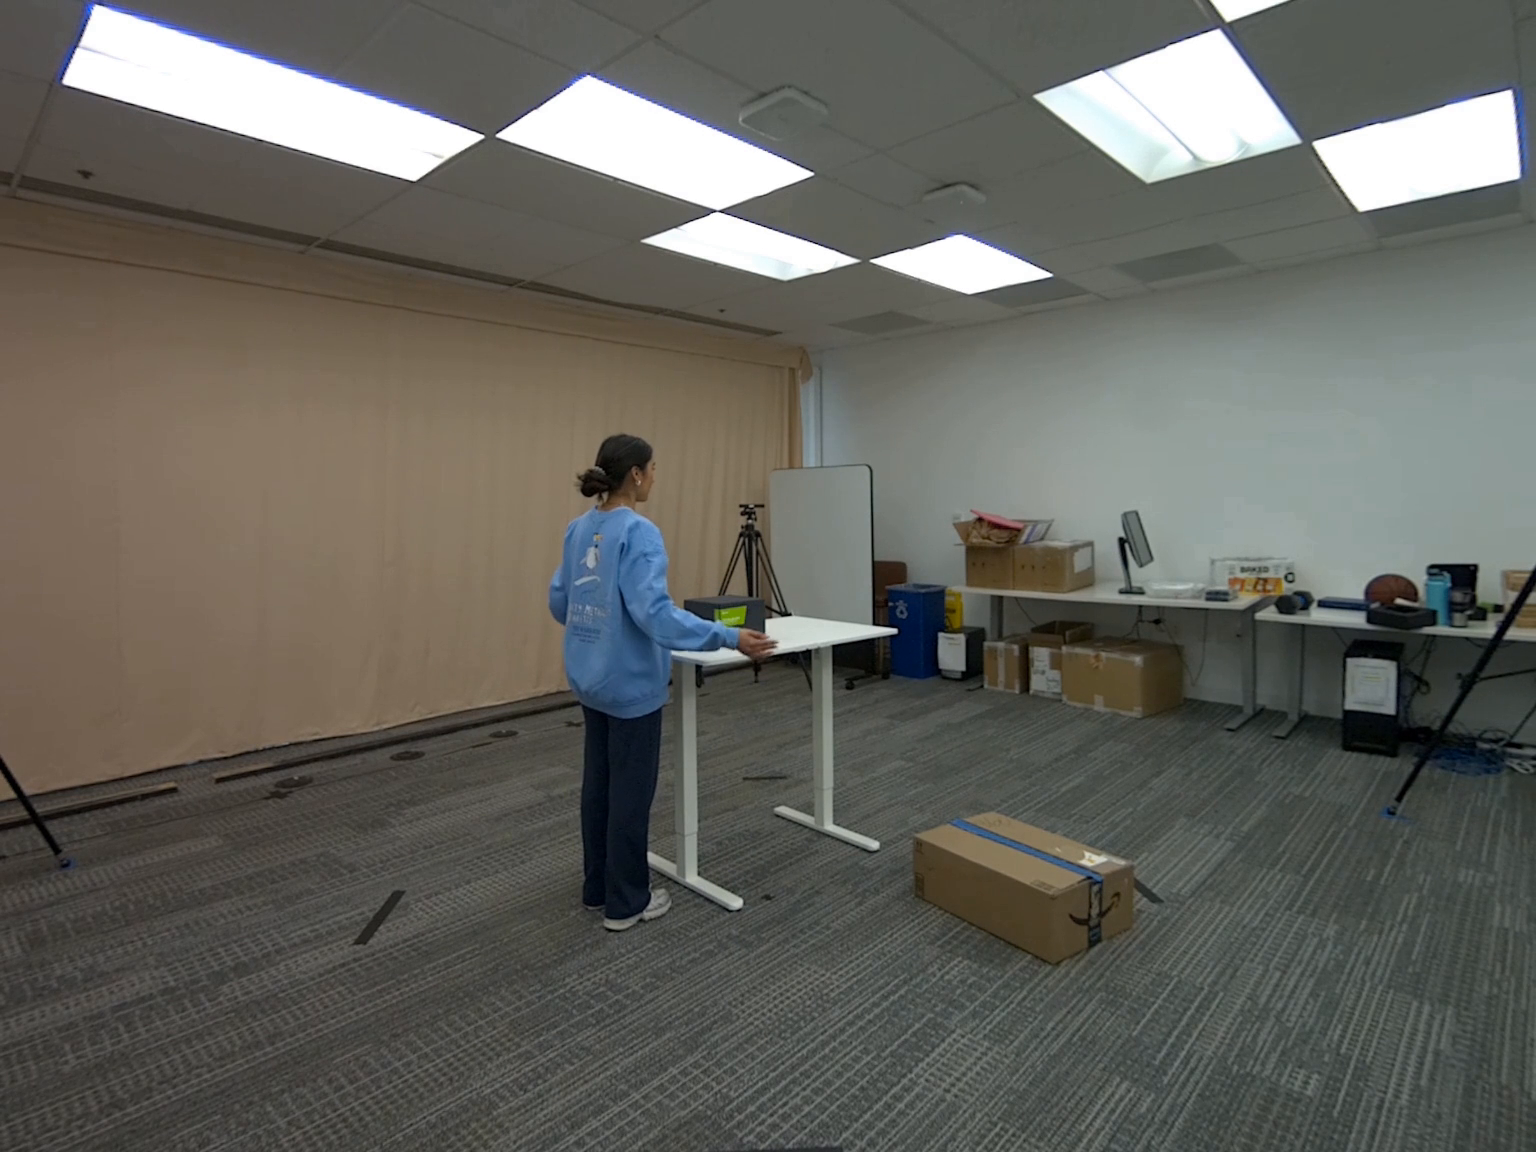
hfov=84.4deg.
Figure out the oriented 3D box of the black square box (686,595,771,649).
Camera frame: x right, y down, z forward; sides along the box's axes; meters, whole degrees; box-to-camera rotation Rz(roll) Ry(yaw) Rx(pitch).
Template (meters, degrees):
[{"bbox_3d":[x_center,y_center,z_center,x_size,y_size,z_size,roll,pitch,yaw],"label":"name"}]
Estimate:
[{"bbox_3d":[-0.149,0.167,3.191,0.221,0.155,0.224,-5,6,-43],"label":"black square box"}]
